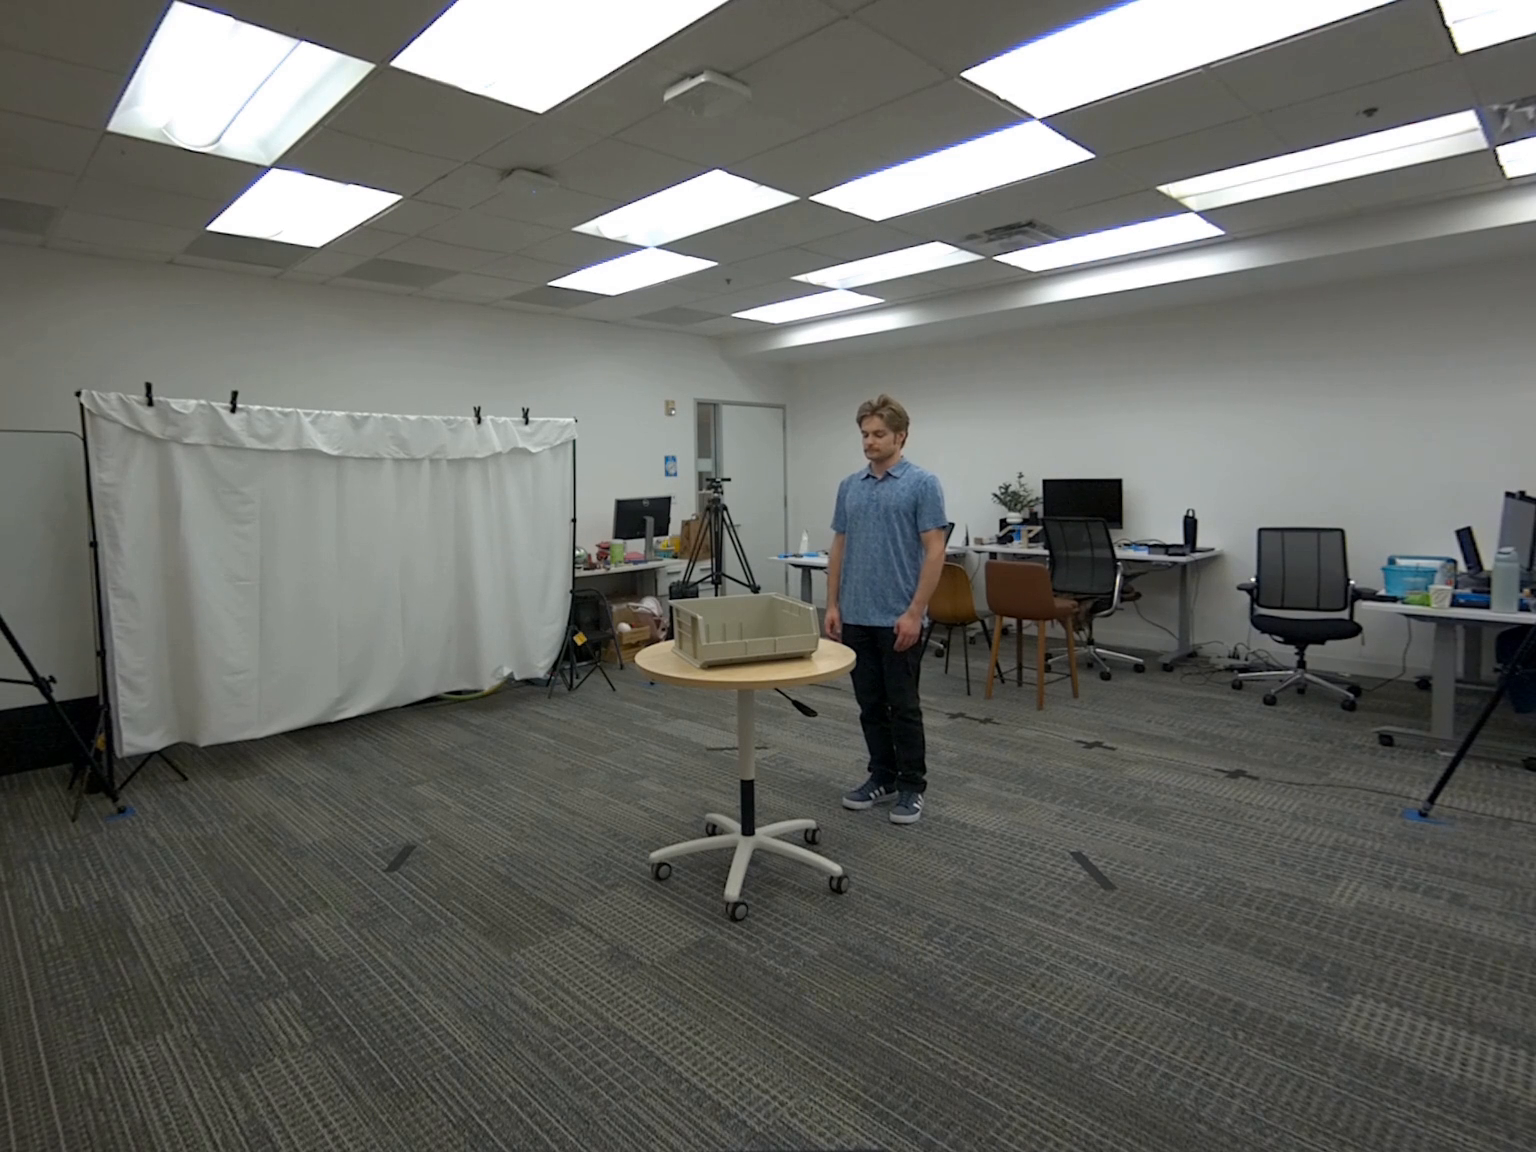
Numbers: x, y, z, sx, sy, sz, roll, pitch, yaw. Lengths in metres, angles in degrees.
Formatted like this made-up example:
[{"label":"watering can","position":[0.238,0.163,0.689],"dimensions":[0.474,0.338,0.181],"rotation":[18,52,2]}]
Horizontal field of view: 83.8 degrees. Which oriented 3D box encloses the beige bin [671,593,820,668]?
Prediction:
[{"label":"beige bin","position":[-0.091,0.186,2.956],"dimensions":[0.415,0.188,0.385],"rotation":[-4,5,-20]}]
